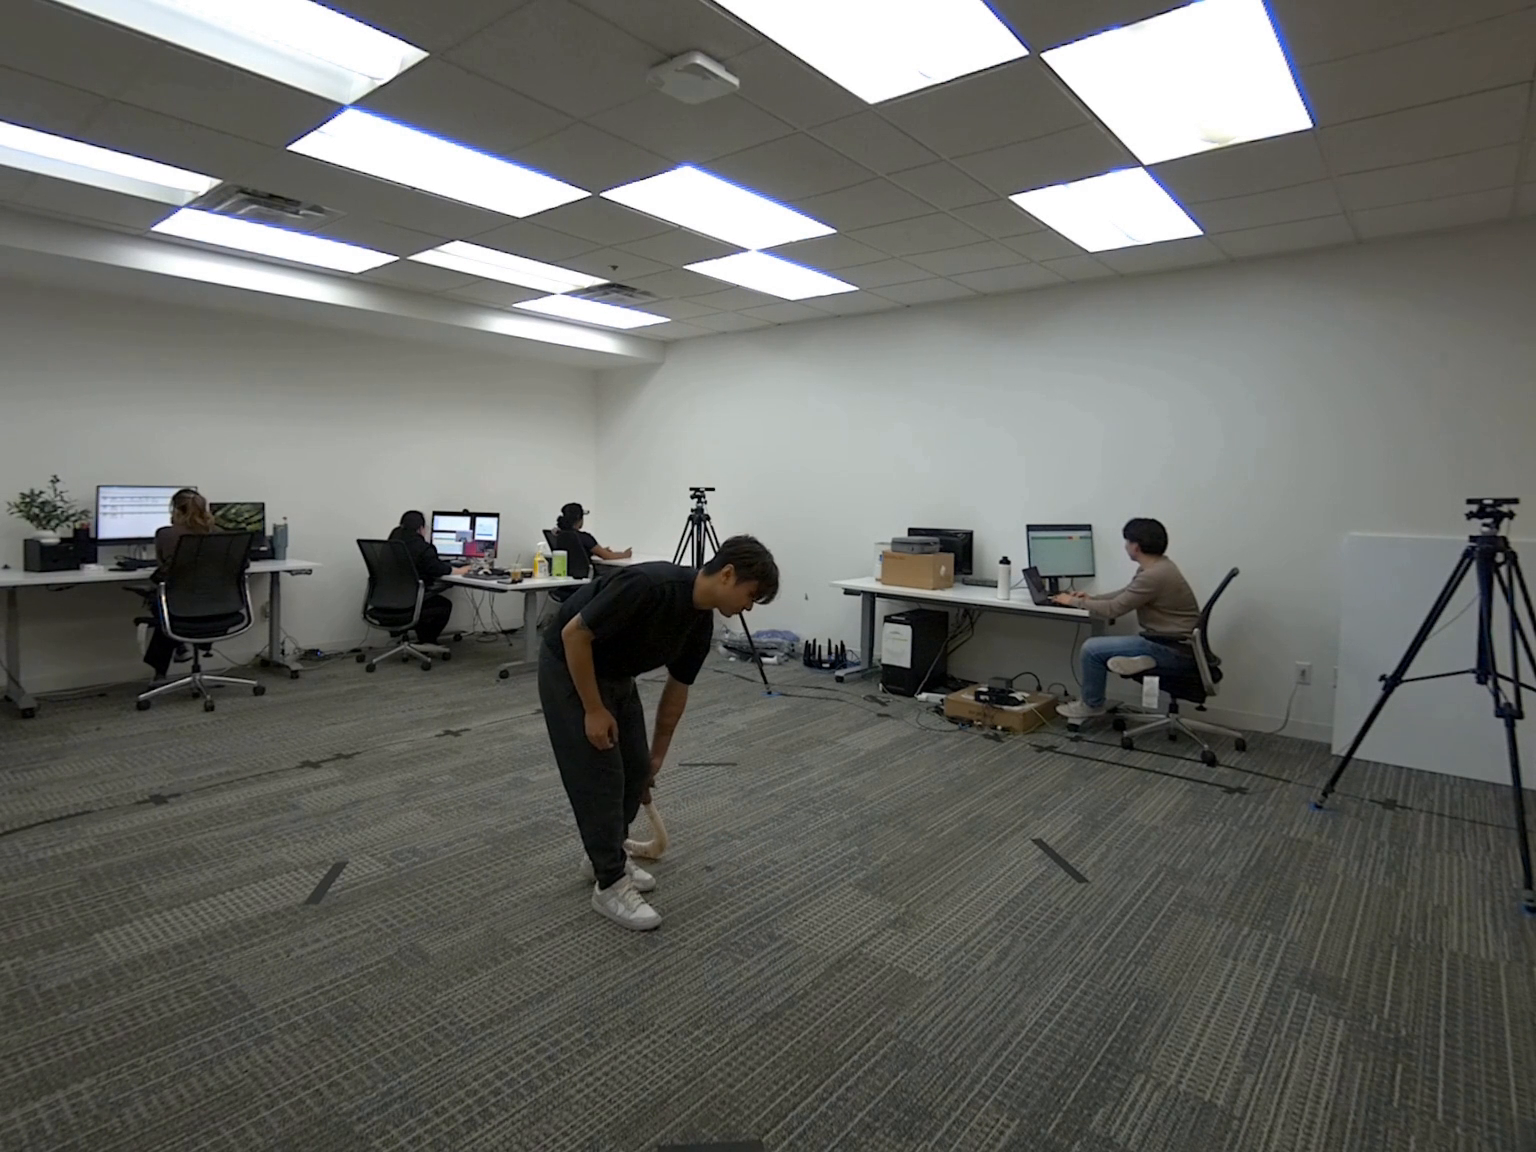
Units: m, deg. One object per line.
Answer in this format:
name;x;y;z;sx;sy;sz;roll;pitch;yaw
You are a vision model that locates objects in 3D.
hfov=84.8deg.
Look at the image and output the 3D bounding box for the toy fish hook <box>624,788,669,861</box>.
toy fish hook;-0.490;0.840;3.075;0.227;0.494;0.049;5;31;8
